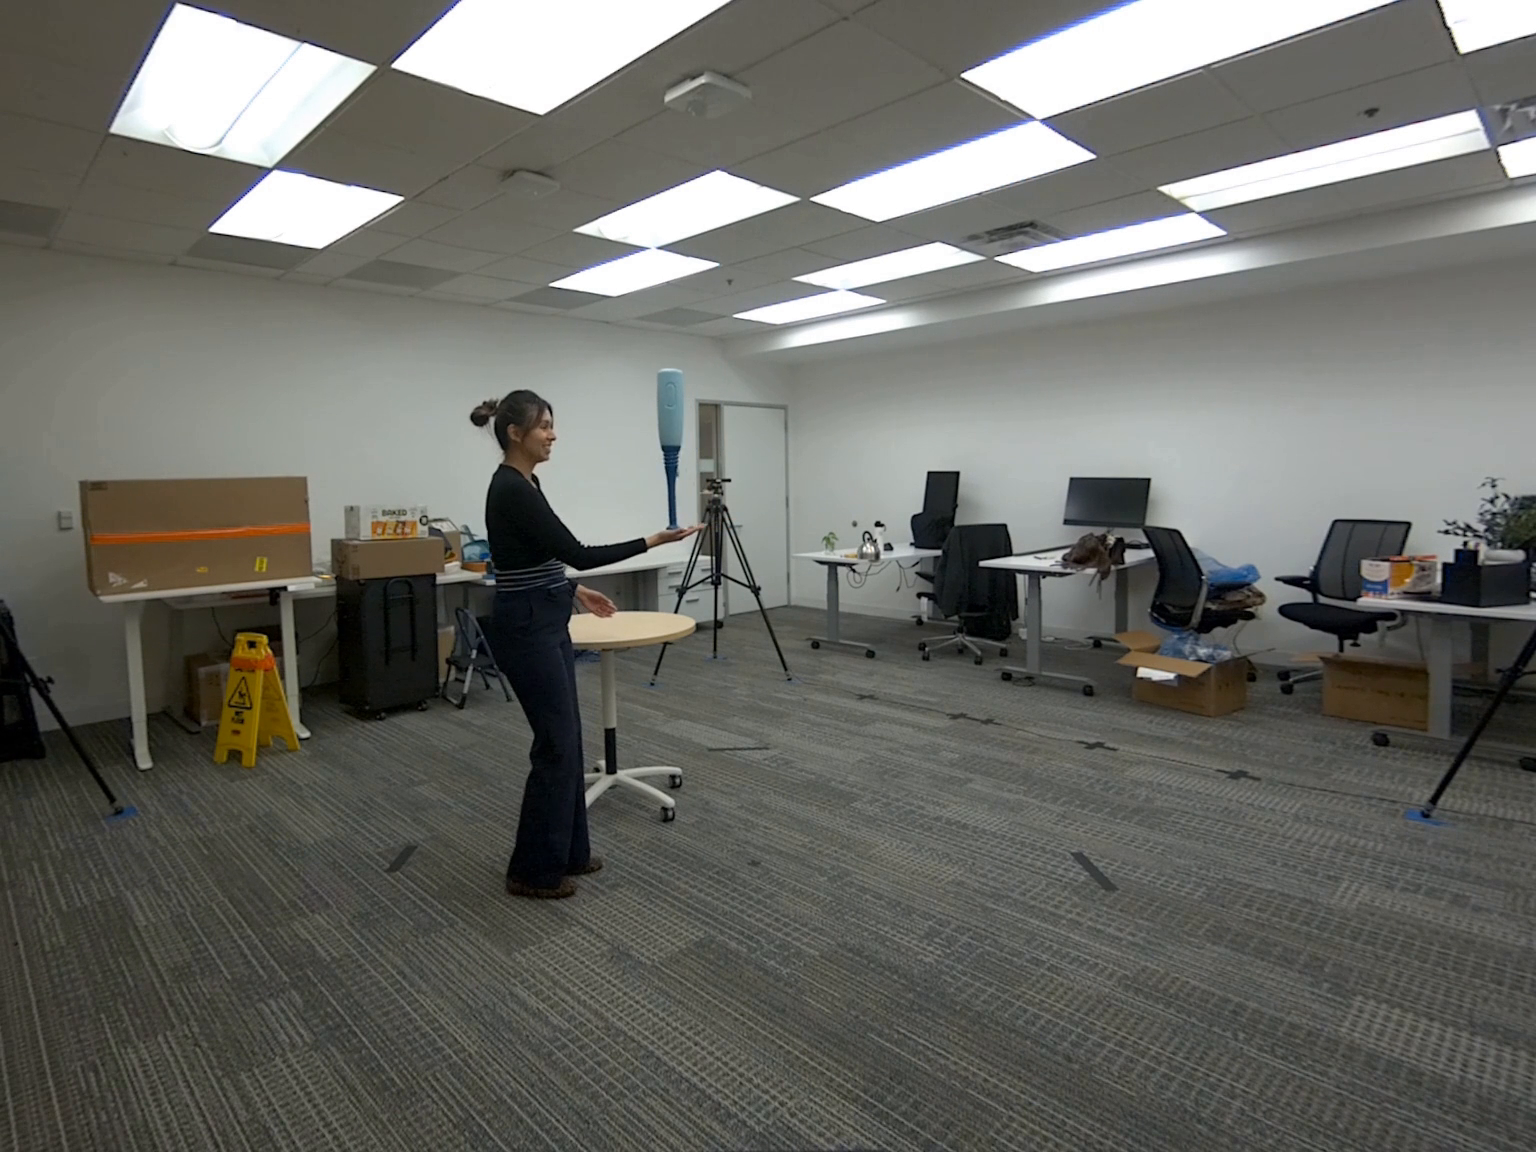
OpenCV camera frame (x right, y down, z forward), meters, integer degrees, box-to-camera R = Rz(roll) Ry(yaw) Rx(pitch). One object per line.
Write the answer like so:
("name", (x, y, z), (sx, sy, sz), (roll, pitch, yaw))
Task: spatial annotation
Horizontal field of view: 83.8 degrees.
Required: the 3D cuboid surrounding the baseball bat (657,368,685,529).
("baseball bat", (-0.332, -0.414, 2.838), (0.089, 0.541, 0.089), (0, 4, -2))
